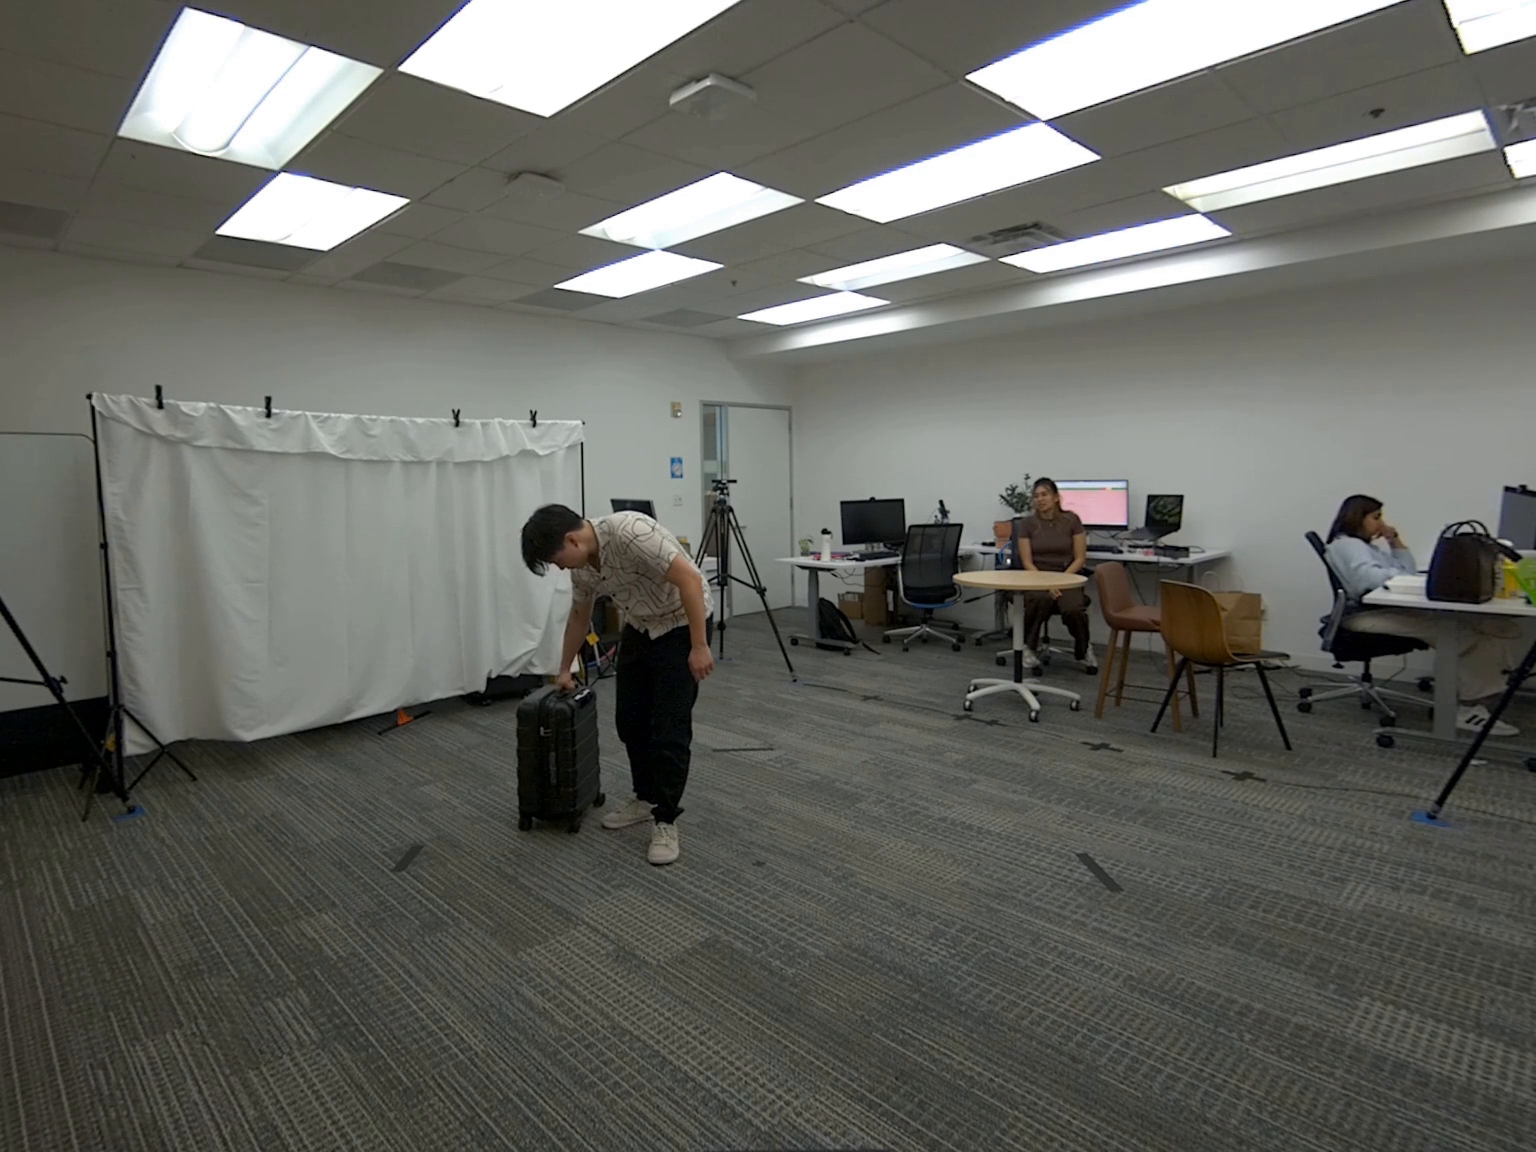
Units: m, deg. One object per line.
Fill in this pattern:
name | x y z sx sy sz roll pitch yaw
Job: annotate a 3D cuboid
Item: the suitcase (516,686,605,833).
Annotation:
suitcase | -0.865 0.740 3.558 0.250 0.547 0.374 -2 5 8
